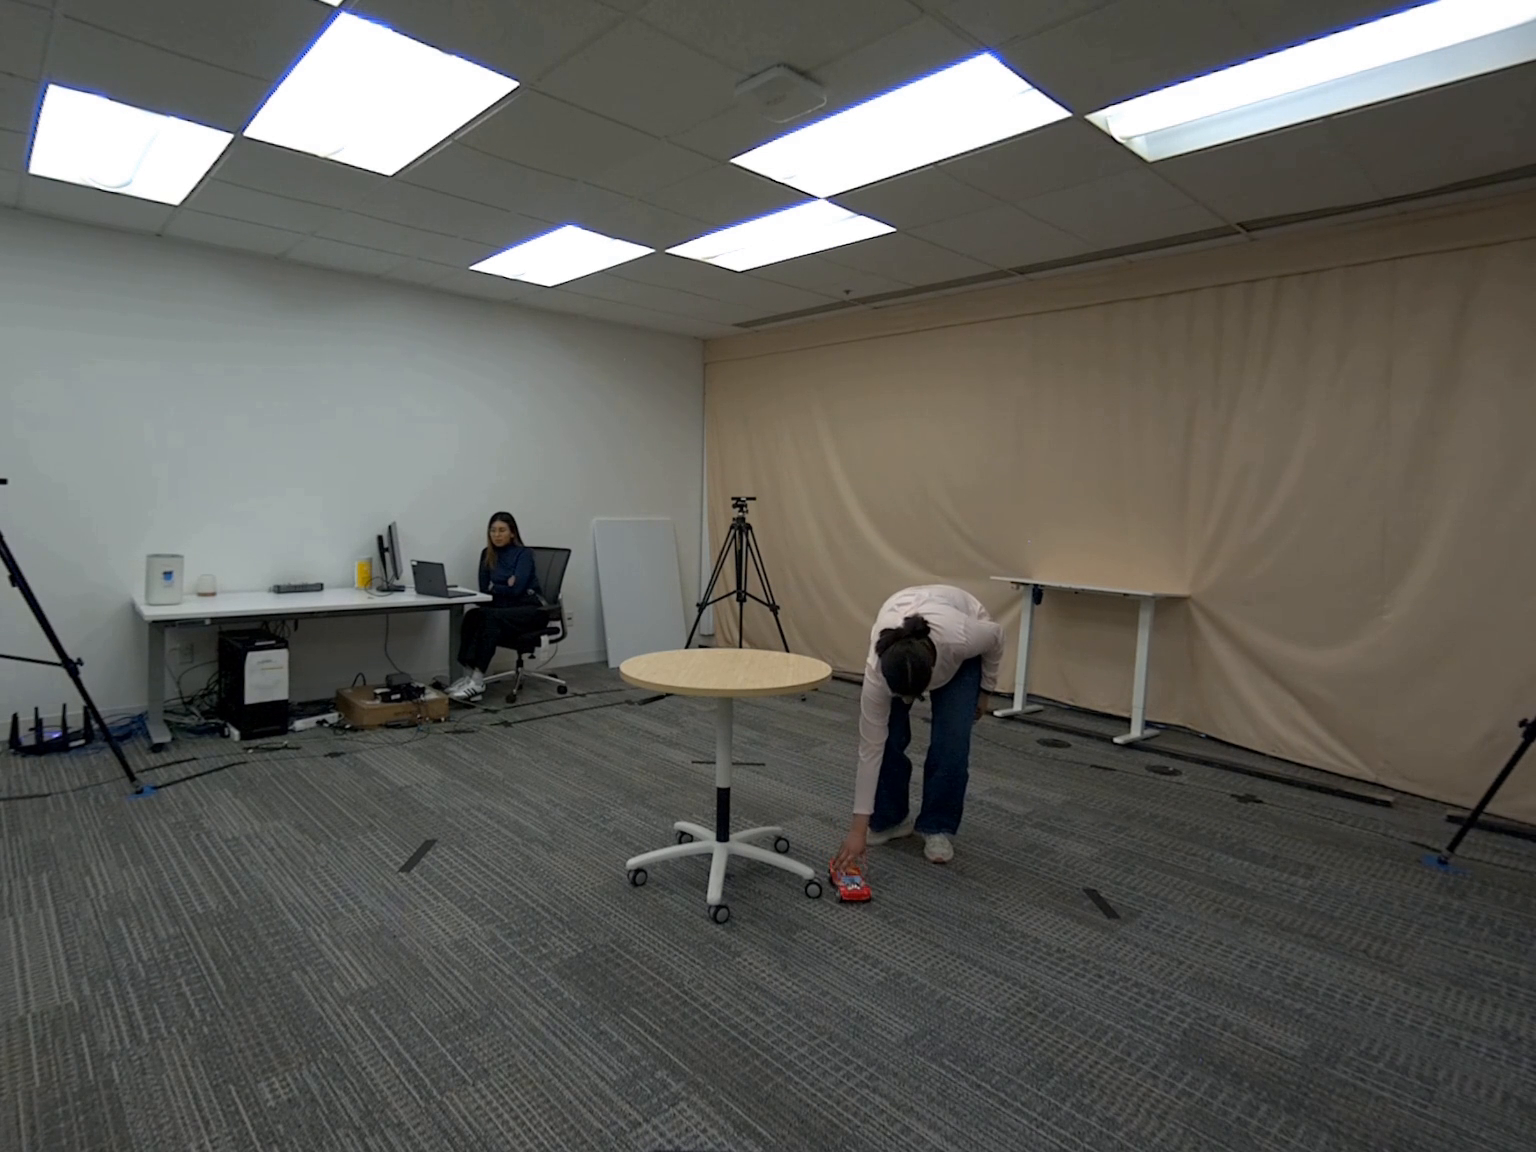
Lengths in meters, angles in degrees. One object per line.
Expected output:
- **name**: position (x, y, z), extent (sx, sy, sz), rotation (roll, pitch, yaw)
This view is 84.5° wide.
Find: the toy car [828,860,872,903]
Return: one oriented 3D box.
- **toy car**: position (0.278, 1.090, 3.020), extent (0.129, 0.082, 0.259), rotation (2, 15, -9)
